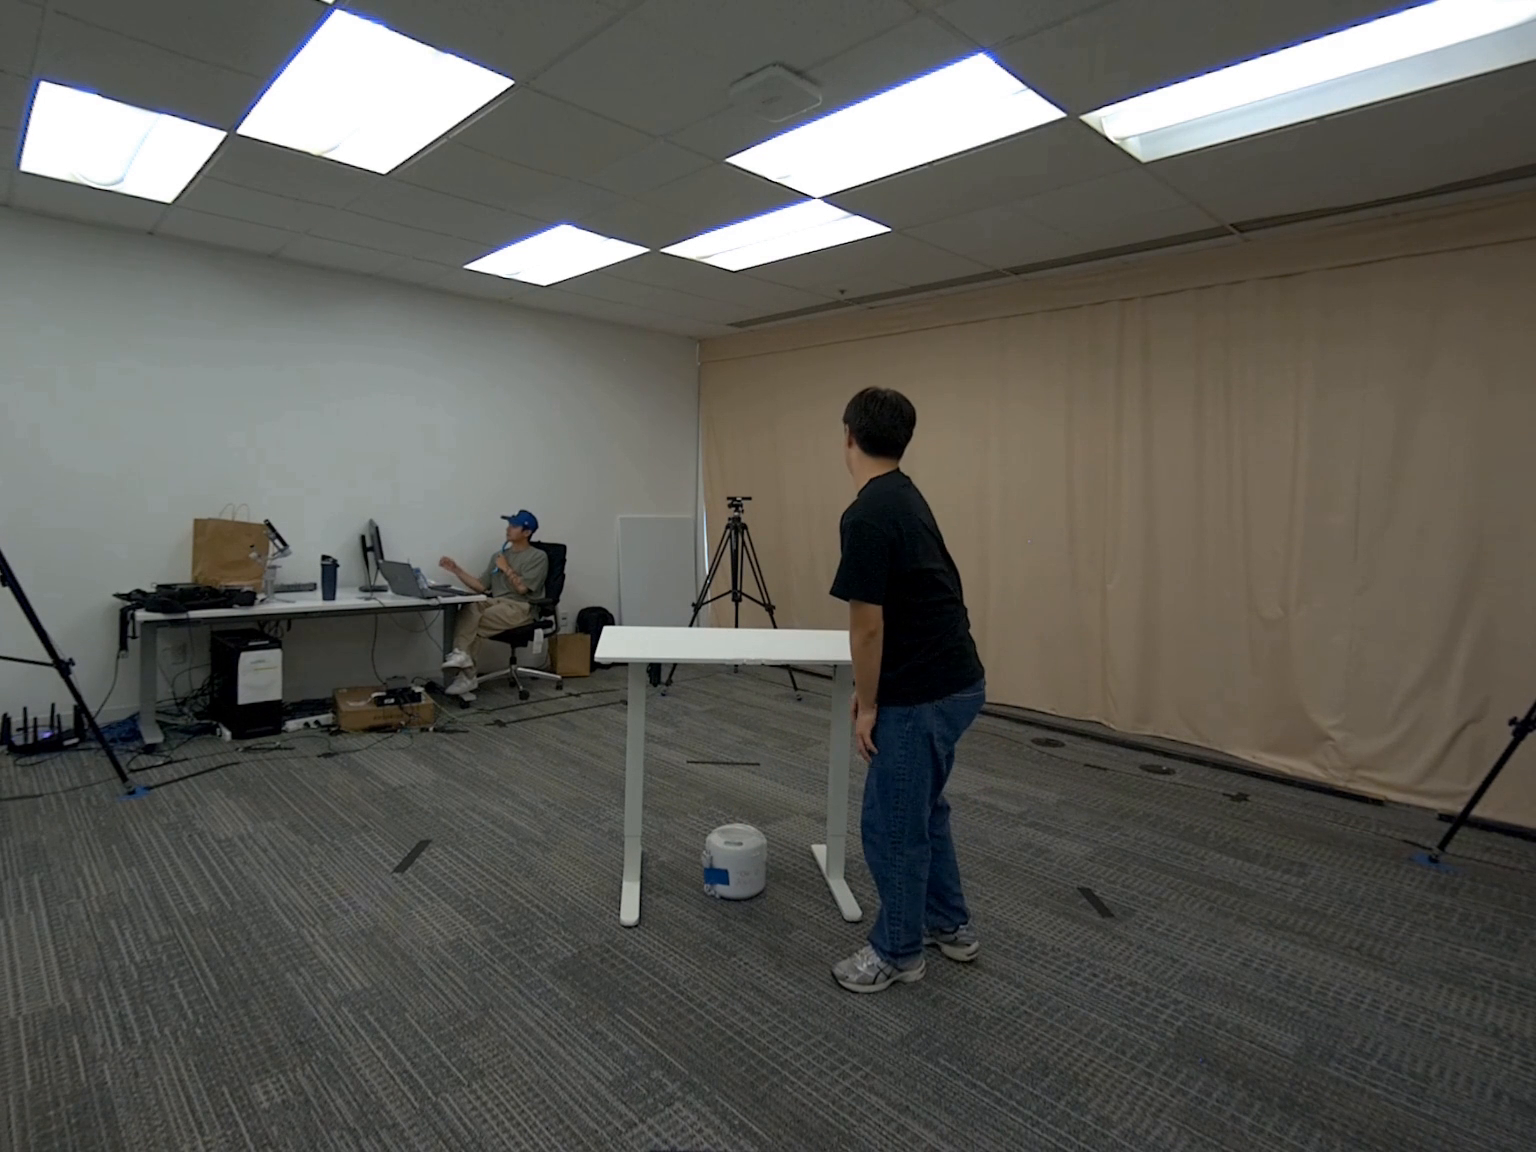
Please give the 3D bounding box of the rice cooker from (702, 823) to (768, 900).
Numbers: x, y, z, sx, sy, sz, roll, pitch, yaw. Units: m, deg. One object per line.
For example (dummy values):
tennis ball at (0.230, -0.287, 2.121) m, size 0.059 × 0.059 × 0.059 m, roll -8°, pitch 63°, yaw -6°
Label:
rice cooker at (-0.118, 1.001, 2.991) m, size 0.223 × 0.232 × 0.216 m, roll 2°, pitch 6°, yaw 12°
